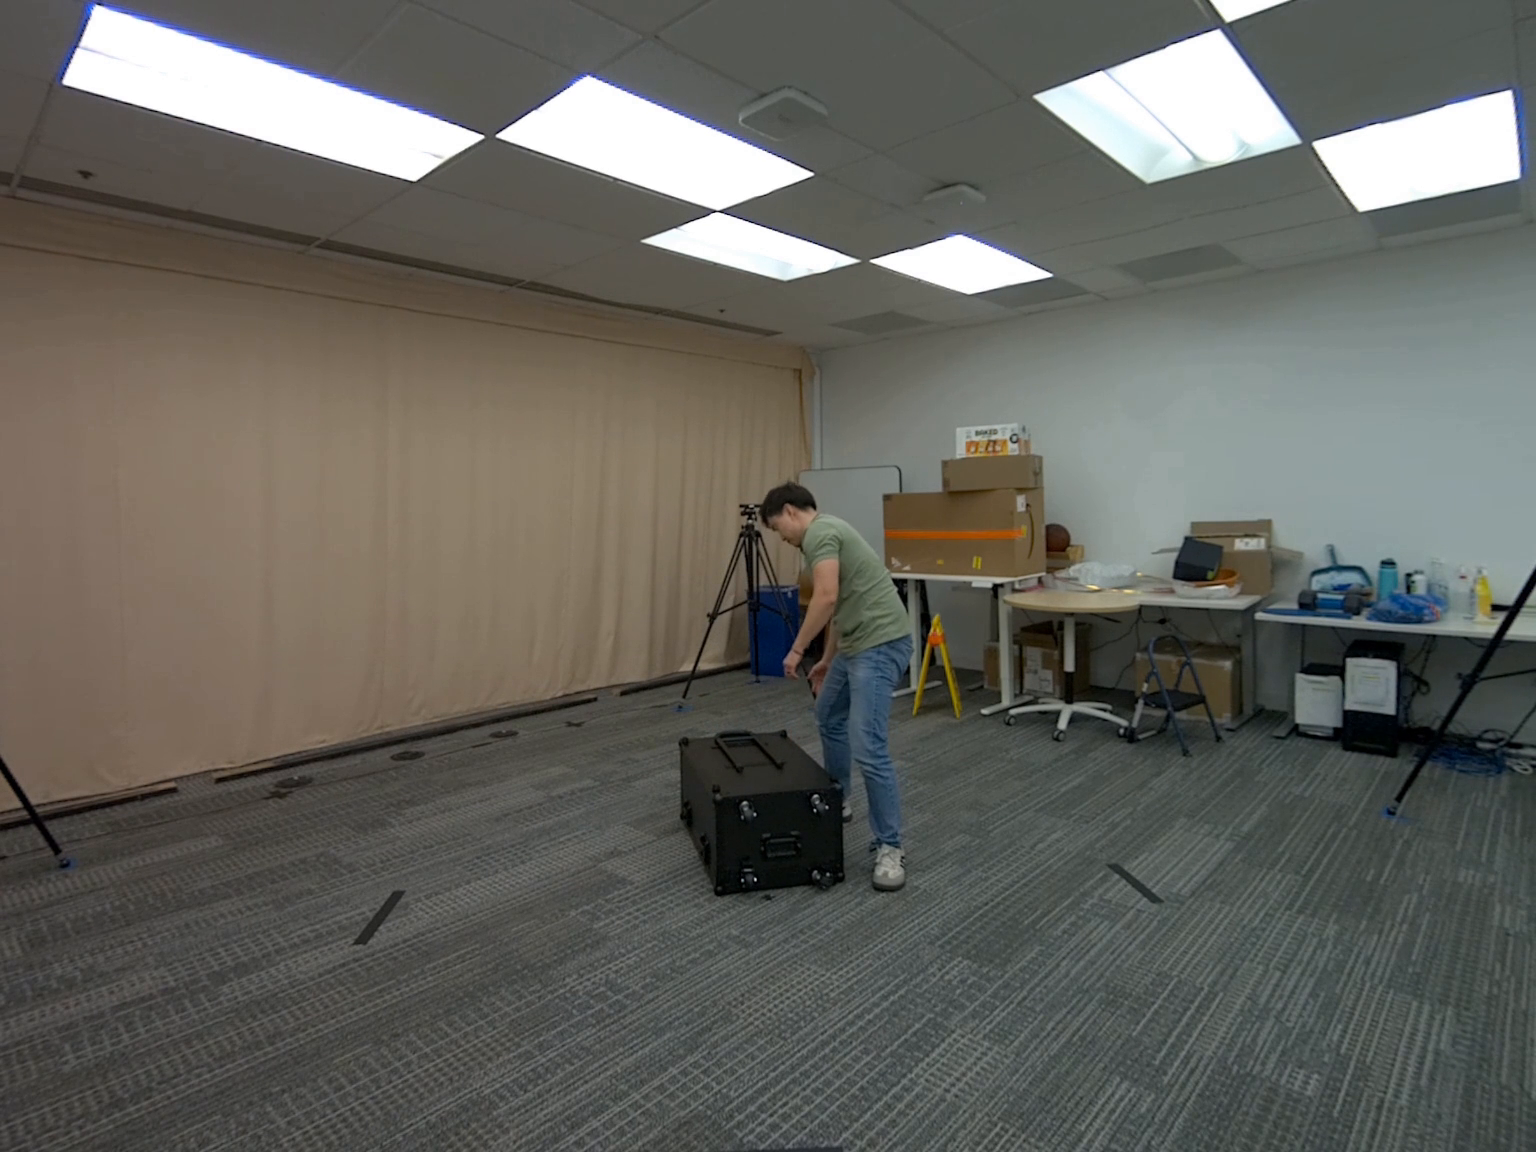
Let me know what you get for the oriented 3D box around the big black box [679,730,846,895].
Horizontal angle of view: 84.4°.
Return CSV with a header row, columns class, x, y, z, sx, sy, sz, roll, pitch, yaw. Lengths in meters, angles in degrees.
class,x,y,z,sx,sy,sz,roll,pitch,yaw
big black box,-0.044,0.910,3.379,0.514,0.395,0.876,-2,6,-14
